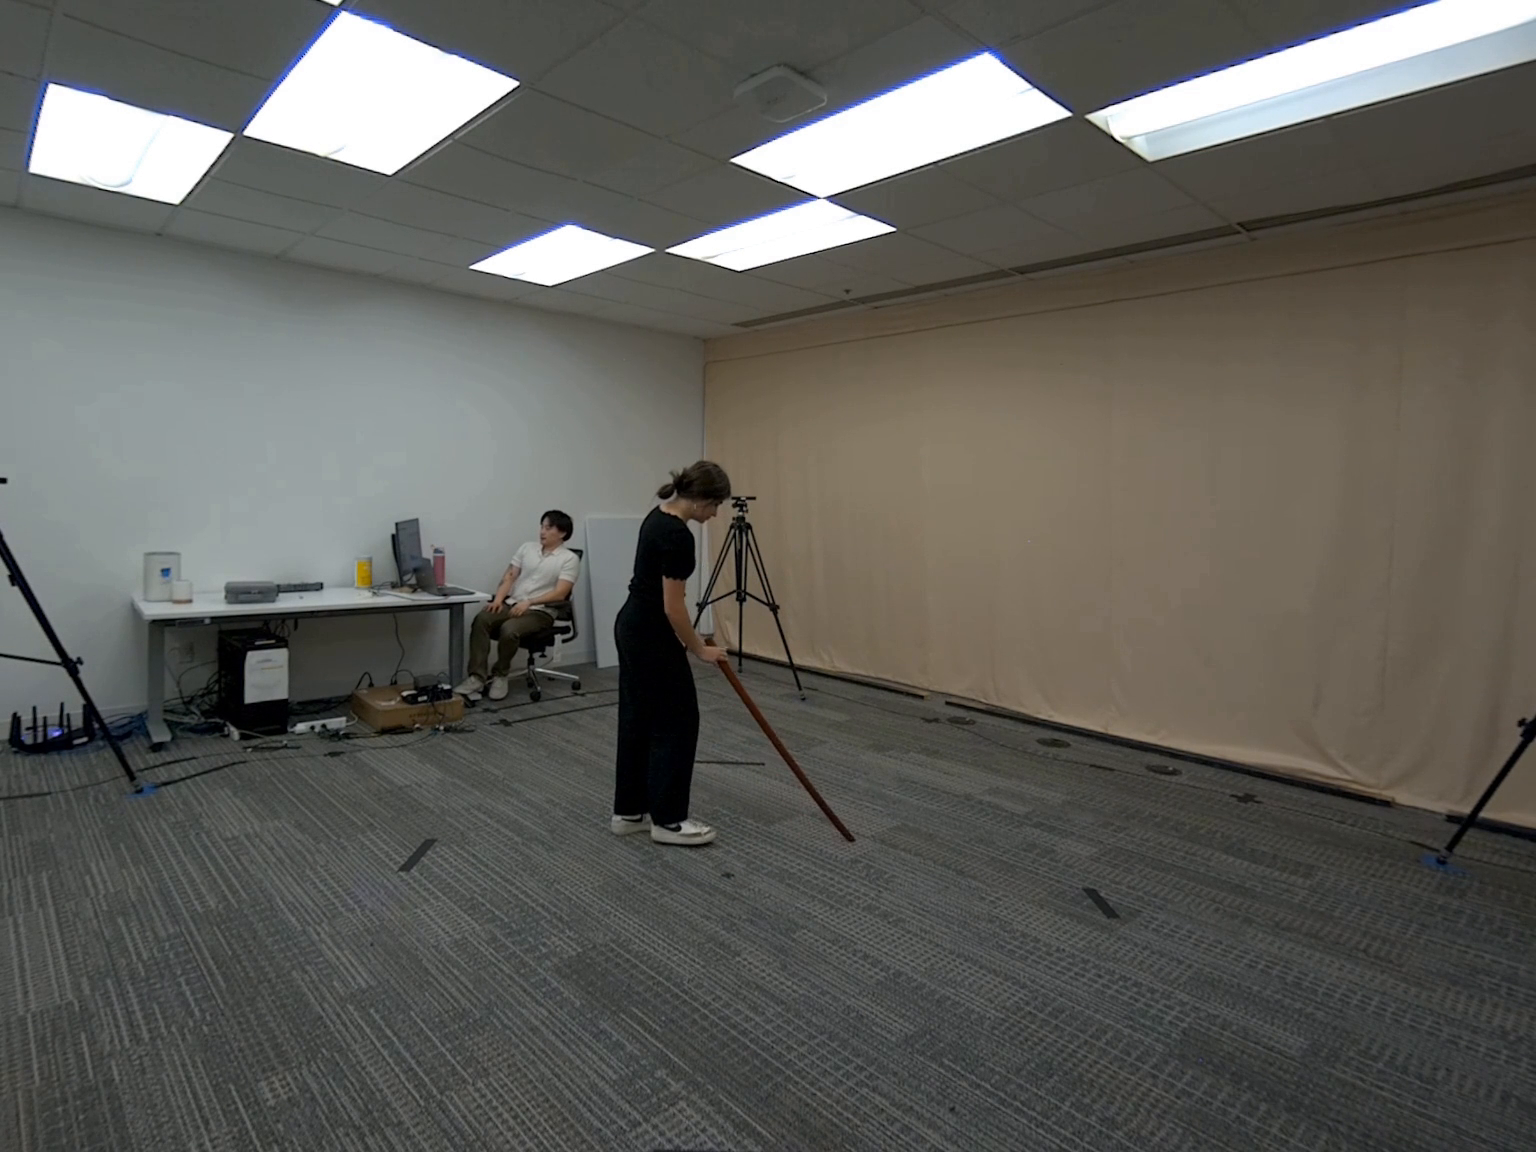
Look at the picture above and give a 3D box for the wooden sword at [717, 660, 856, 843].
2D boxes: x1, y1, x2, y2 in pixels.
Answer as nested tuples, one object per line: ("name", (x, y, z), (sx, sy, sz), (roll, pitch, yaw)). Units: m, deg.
("wooden sword", (0.034, 0.689, 3.461), (0.051, 1.023, 0.024), (-36, 2, 9))
